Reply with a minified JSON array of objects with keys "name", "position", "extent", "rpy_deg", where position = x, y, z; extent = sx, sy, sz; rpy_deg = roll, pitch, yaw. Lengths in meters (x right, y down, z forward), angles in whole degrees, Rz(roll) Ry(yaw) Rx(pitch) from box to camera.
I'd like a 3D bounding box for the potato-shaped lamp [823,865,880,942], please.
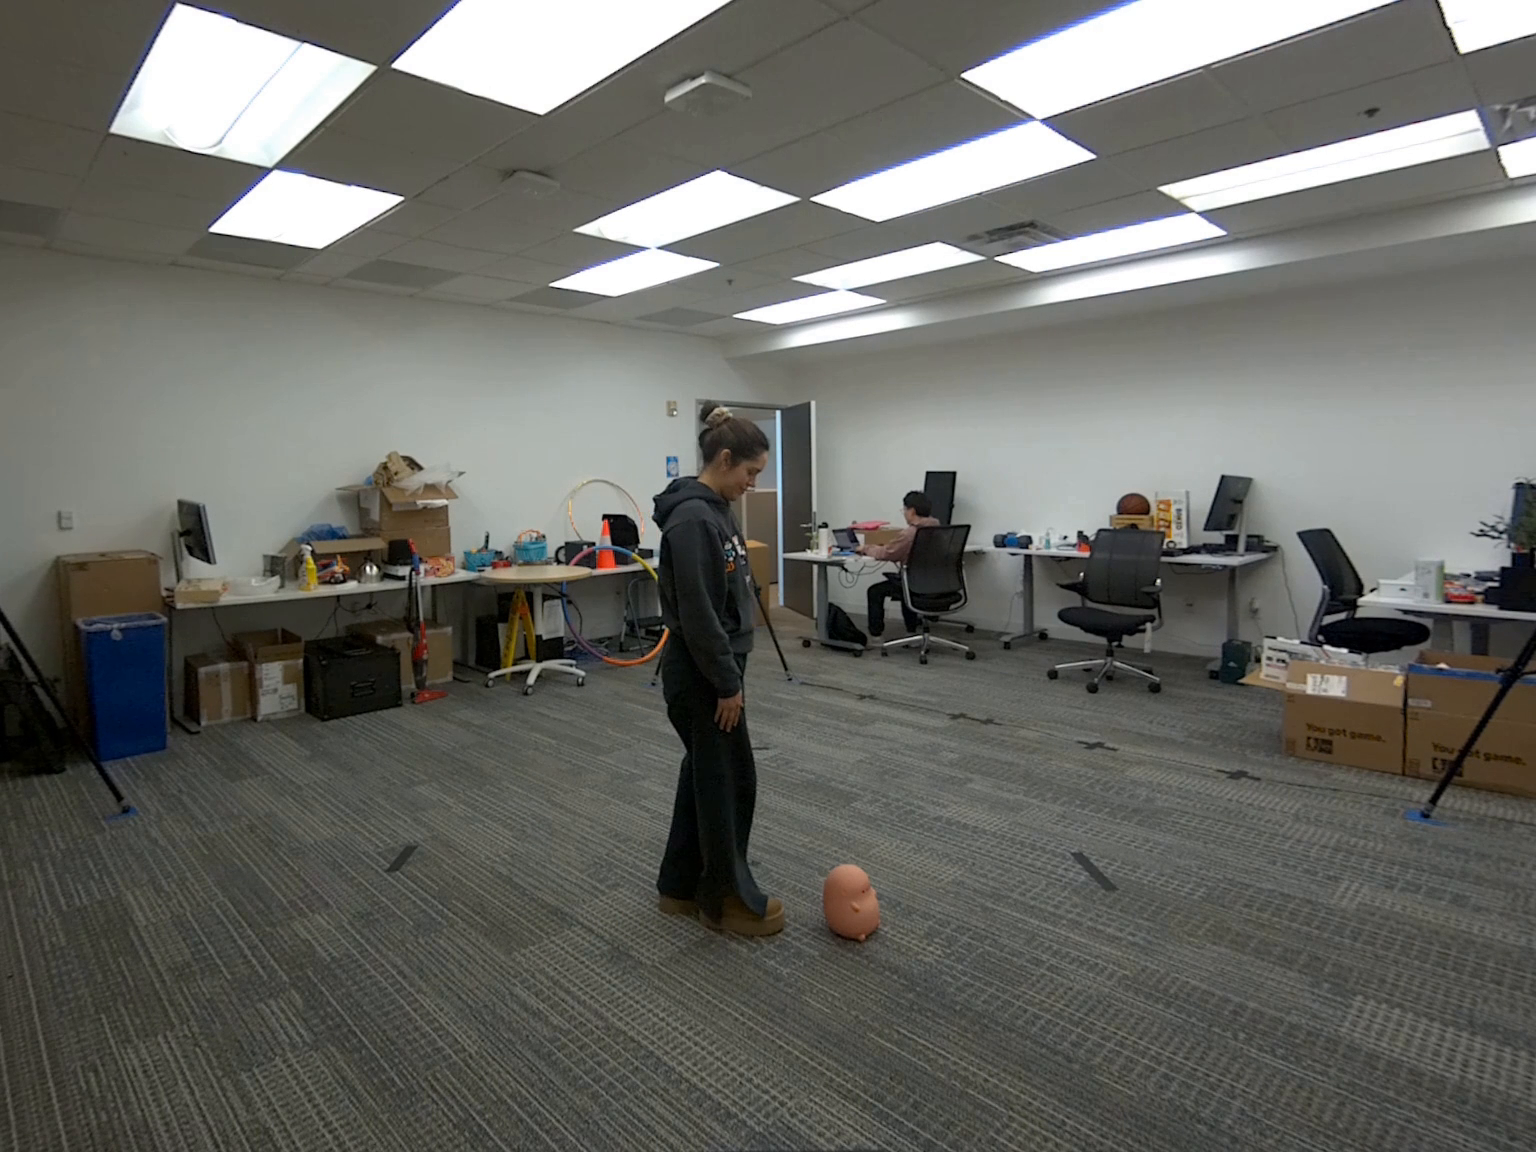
[{"name":"potato-shaped lamp","position":[0.253,0.986,2.620],"extent":[0.176,0.197,0.160],"rpy_deg":[3,6,38]}]
